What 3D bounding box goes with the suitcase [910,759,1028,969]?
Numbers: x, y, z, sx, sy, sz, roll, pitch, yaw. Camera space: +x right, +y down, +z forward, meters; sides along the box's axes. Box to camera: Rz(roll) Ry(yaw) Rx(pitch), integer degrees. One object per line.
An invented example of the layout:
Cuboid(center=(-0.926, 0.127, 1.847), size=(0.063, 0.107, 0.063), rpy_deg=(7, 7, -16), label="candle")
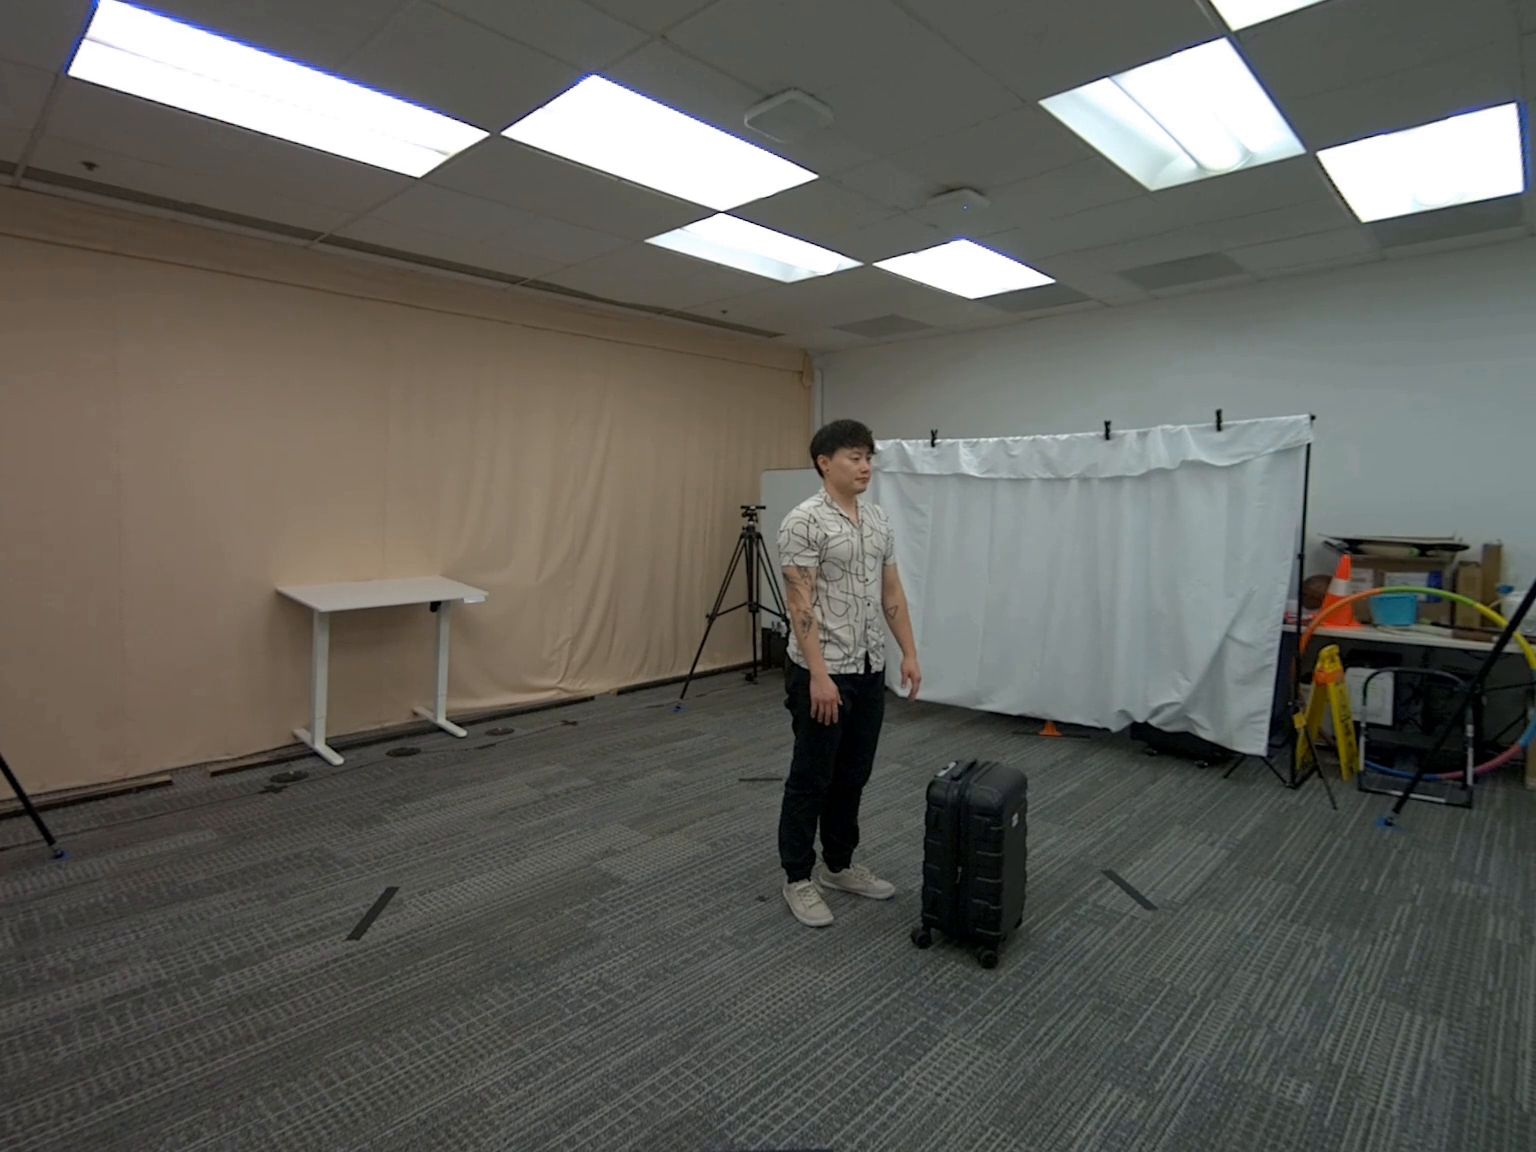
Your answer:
Cuboid(center=(0.679, 0.891, 2.707), size=(0.256, 0.548, 0.365), rpy_deg=(5, 5, 33), label="suitcase")
